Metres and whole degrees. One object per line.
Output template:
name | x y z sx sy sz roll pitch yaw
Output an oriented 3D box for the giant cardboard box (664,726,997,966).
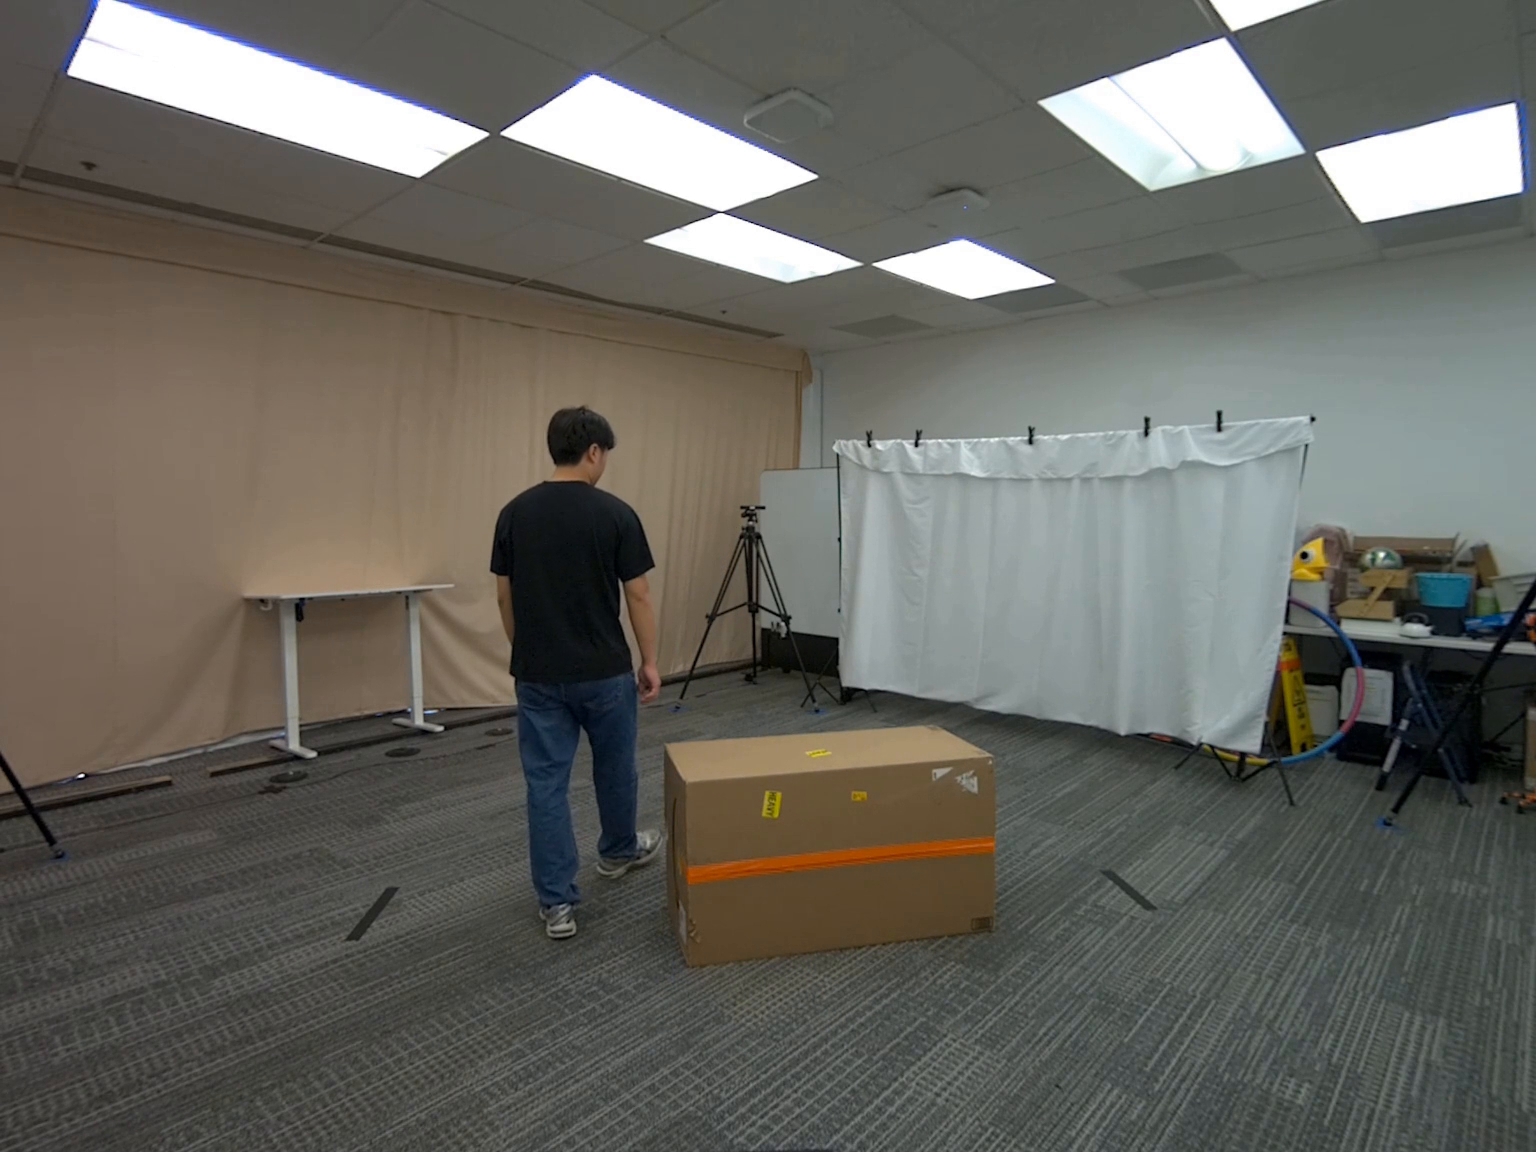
giant cardboard box | 0.193 0.869 2.824 1.013 0.582 0.454 -2 5 -13
